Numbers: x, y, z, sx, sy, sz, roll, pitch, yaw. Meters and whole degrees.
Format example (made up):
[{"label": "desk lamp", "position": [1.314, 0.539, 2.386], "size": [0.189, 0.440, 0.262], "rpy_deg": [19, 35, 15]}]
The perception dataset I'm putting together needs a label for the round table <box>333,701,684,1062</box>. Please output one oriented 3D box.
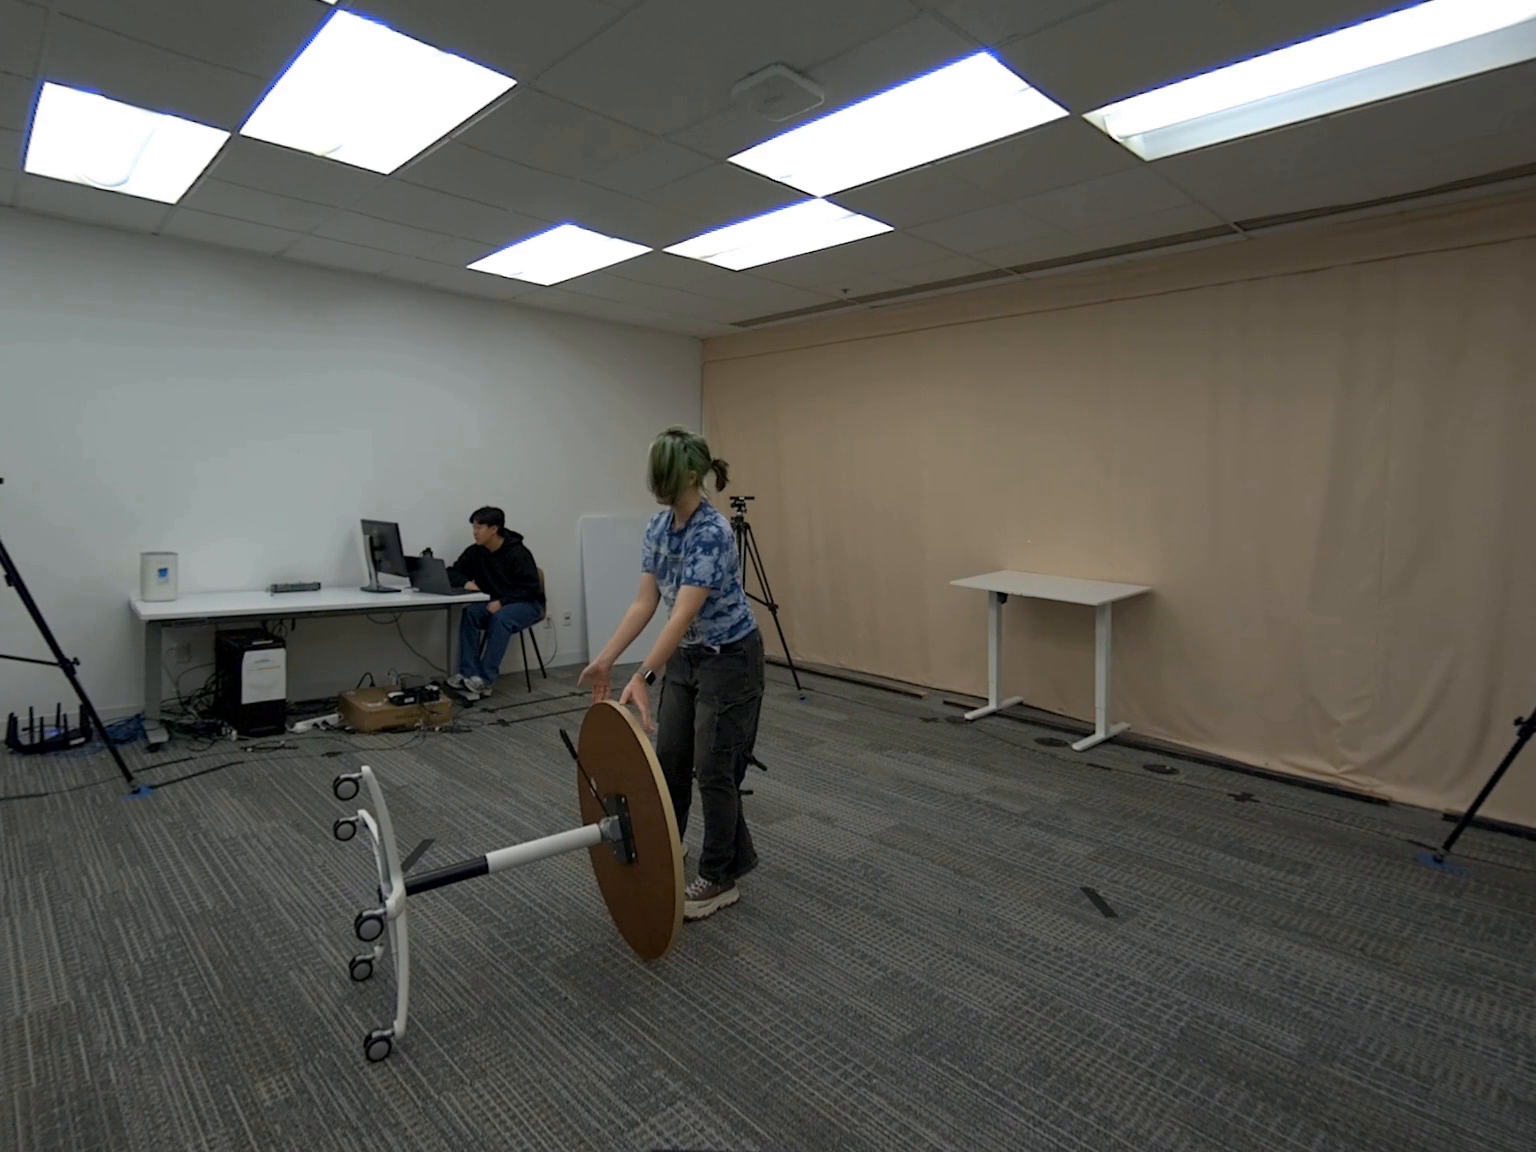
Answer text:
[{"label": "round table", "position": [-0.772, 0.816, 2.391], "size": [0.780, 0.760, 0.782], "rpy_deg": [-8, 9, -30]}]
